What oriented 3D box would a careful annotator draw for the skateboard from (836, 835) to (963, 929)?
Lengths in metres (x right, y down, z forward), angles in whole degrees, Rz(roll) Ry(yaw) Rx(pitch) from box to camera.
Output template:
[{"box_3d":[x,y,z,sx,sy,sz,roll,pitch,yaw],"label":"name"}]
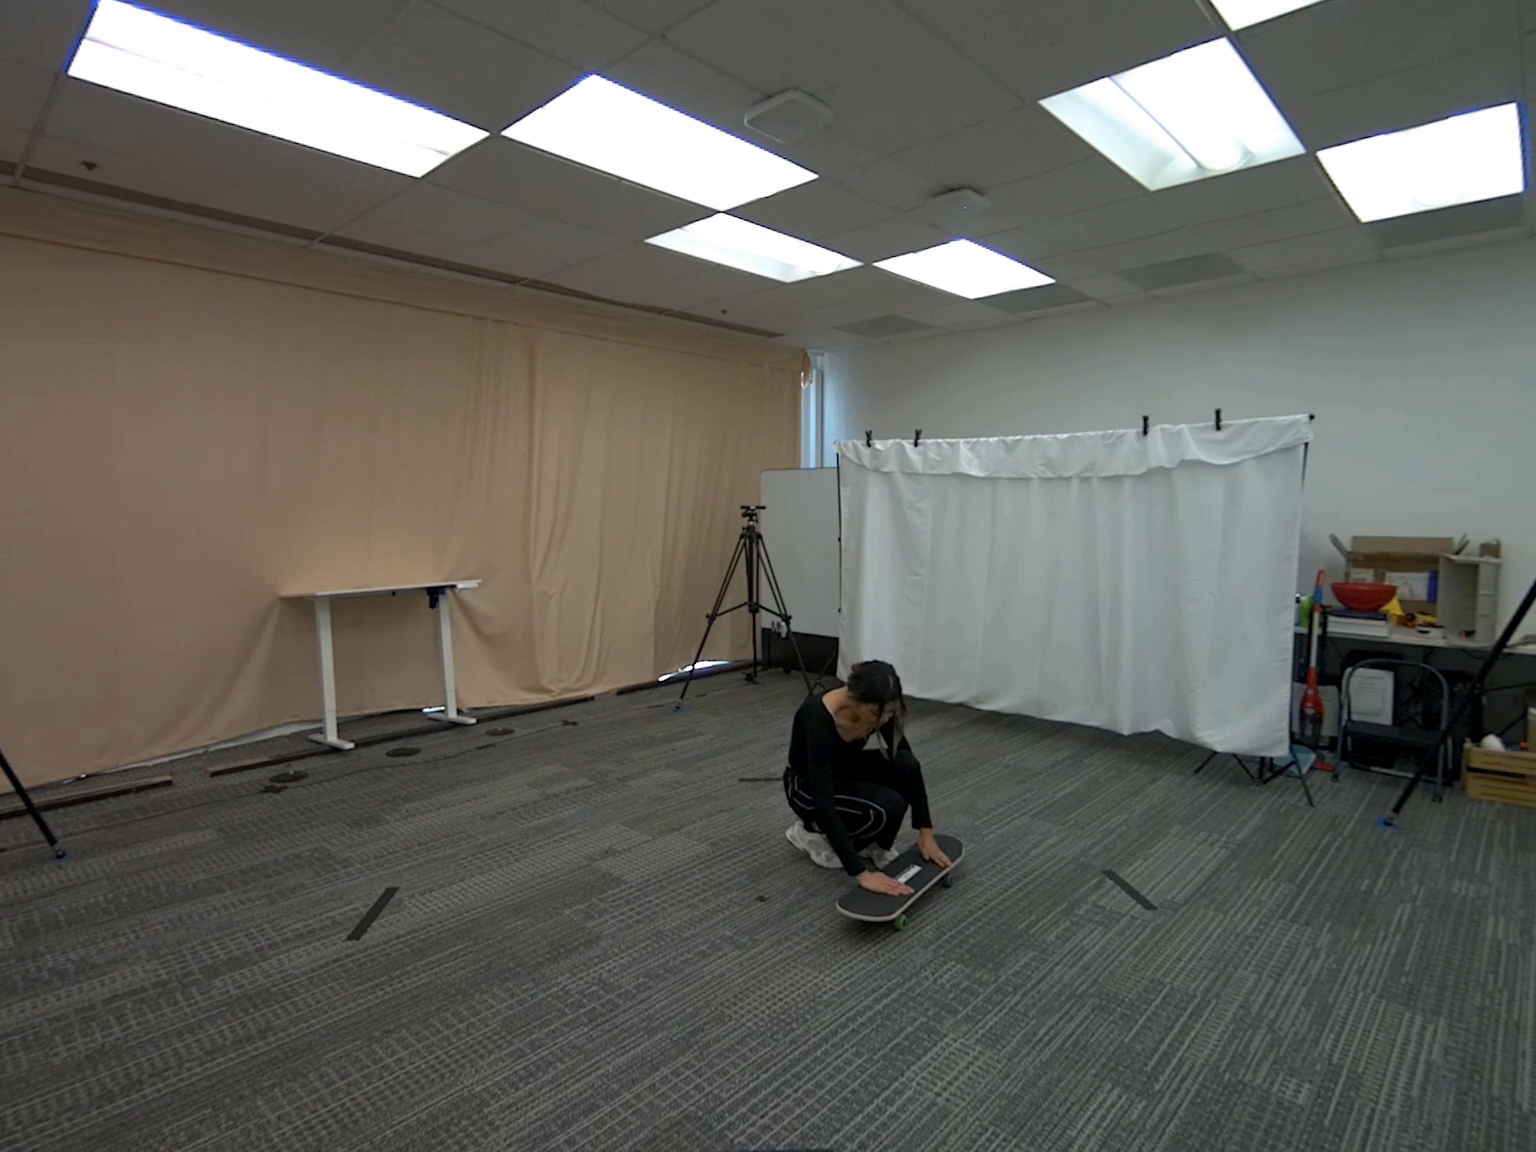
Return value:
[{"box_3d":[0.485,1.085,2.965,0.199,0.110,0.763,4,6,35],"label":"skateboard"}]
